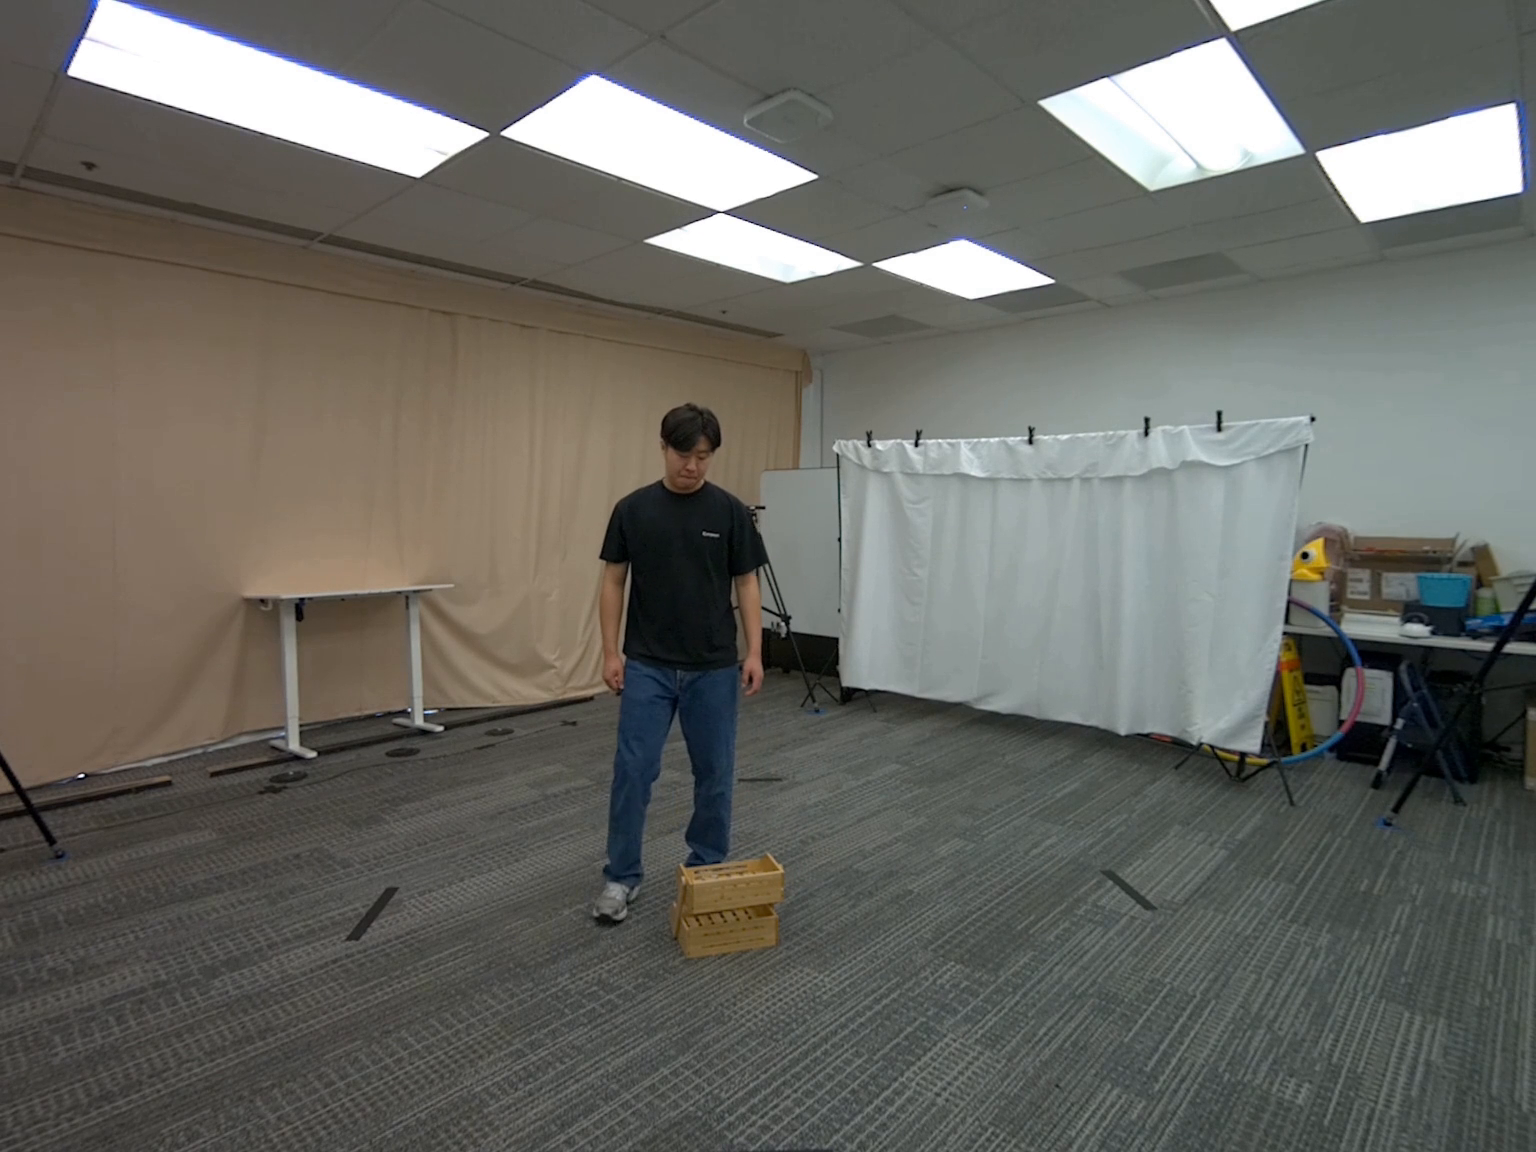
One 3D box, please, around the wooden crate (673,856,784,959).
[{"bbox_3d":[-0.138,1.031,2.717,0.319,0.273,0.308,-1,4,-18],"label":"wooden crate"}]
